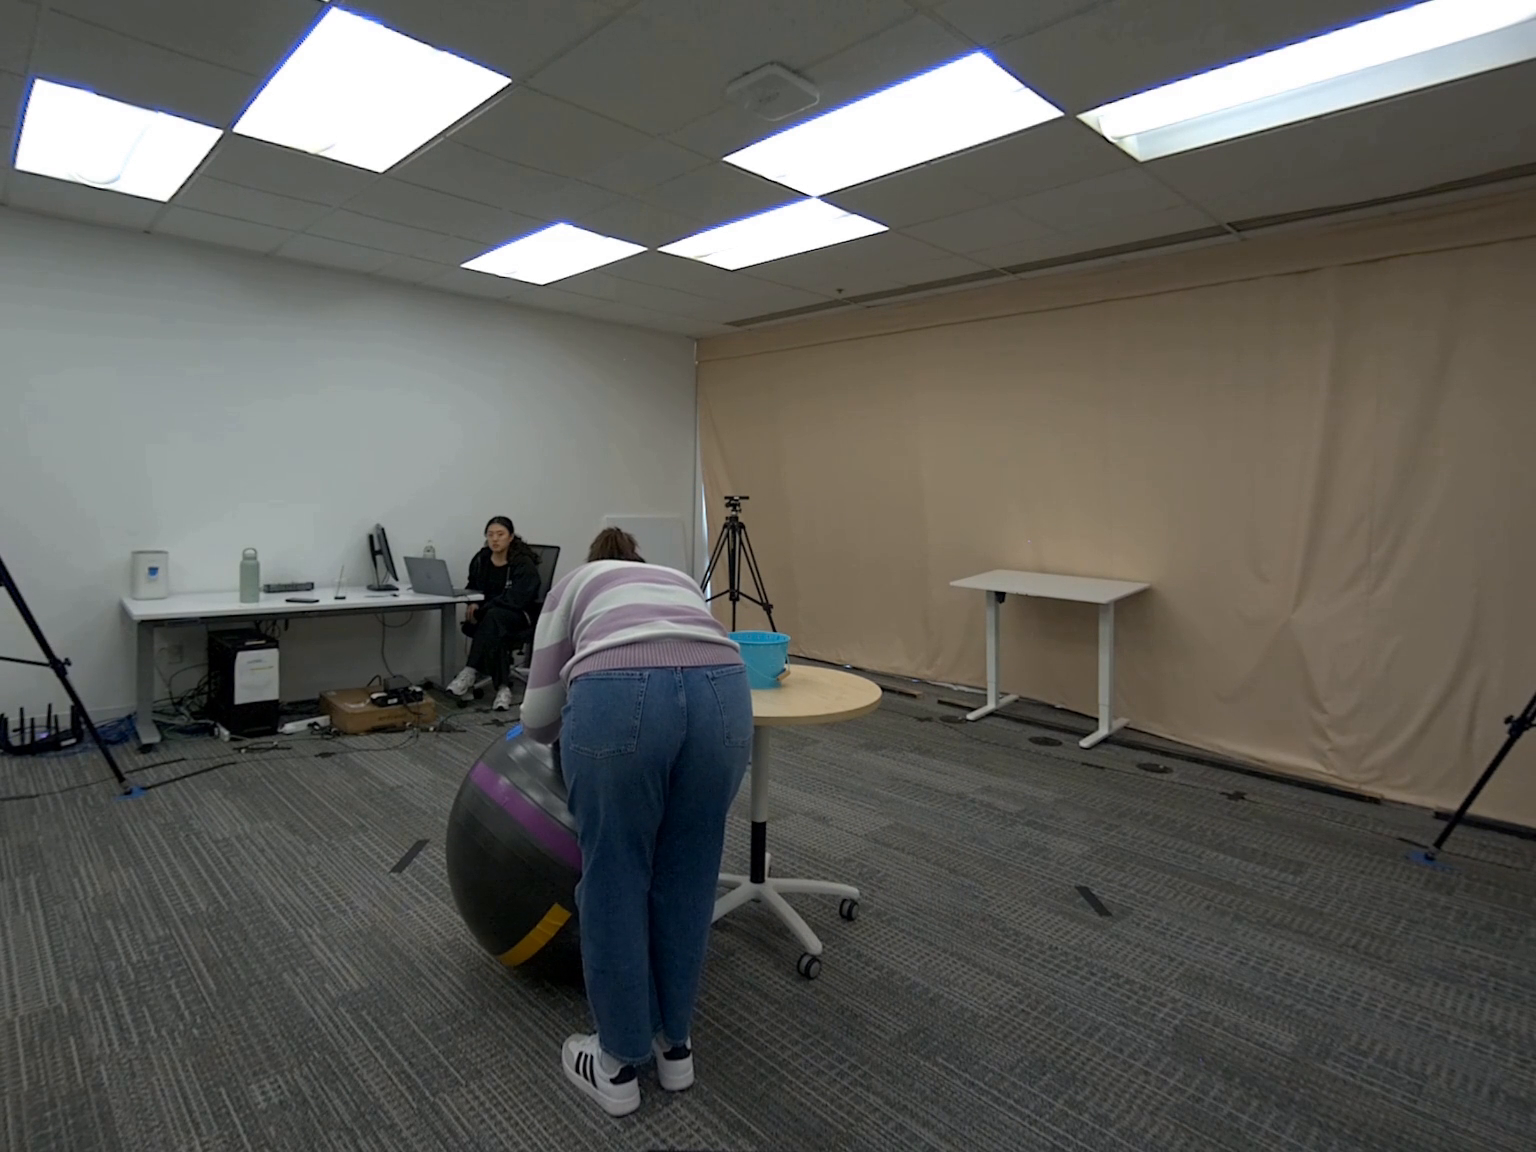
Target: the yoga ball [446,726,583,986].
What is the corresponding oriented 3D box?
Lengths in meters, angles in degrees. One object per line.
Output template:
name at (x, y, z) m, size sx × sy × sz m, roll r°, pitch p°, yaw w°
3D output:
yoga ball at (-0.579, 0.782, 2.511) m, size 0.757 × 0.756 × 0.761 m, roll 1°, pitch 4°, yaw -1°
